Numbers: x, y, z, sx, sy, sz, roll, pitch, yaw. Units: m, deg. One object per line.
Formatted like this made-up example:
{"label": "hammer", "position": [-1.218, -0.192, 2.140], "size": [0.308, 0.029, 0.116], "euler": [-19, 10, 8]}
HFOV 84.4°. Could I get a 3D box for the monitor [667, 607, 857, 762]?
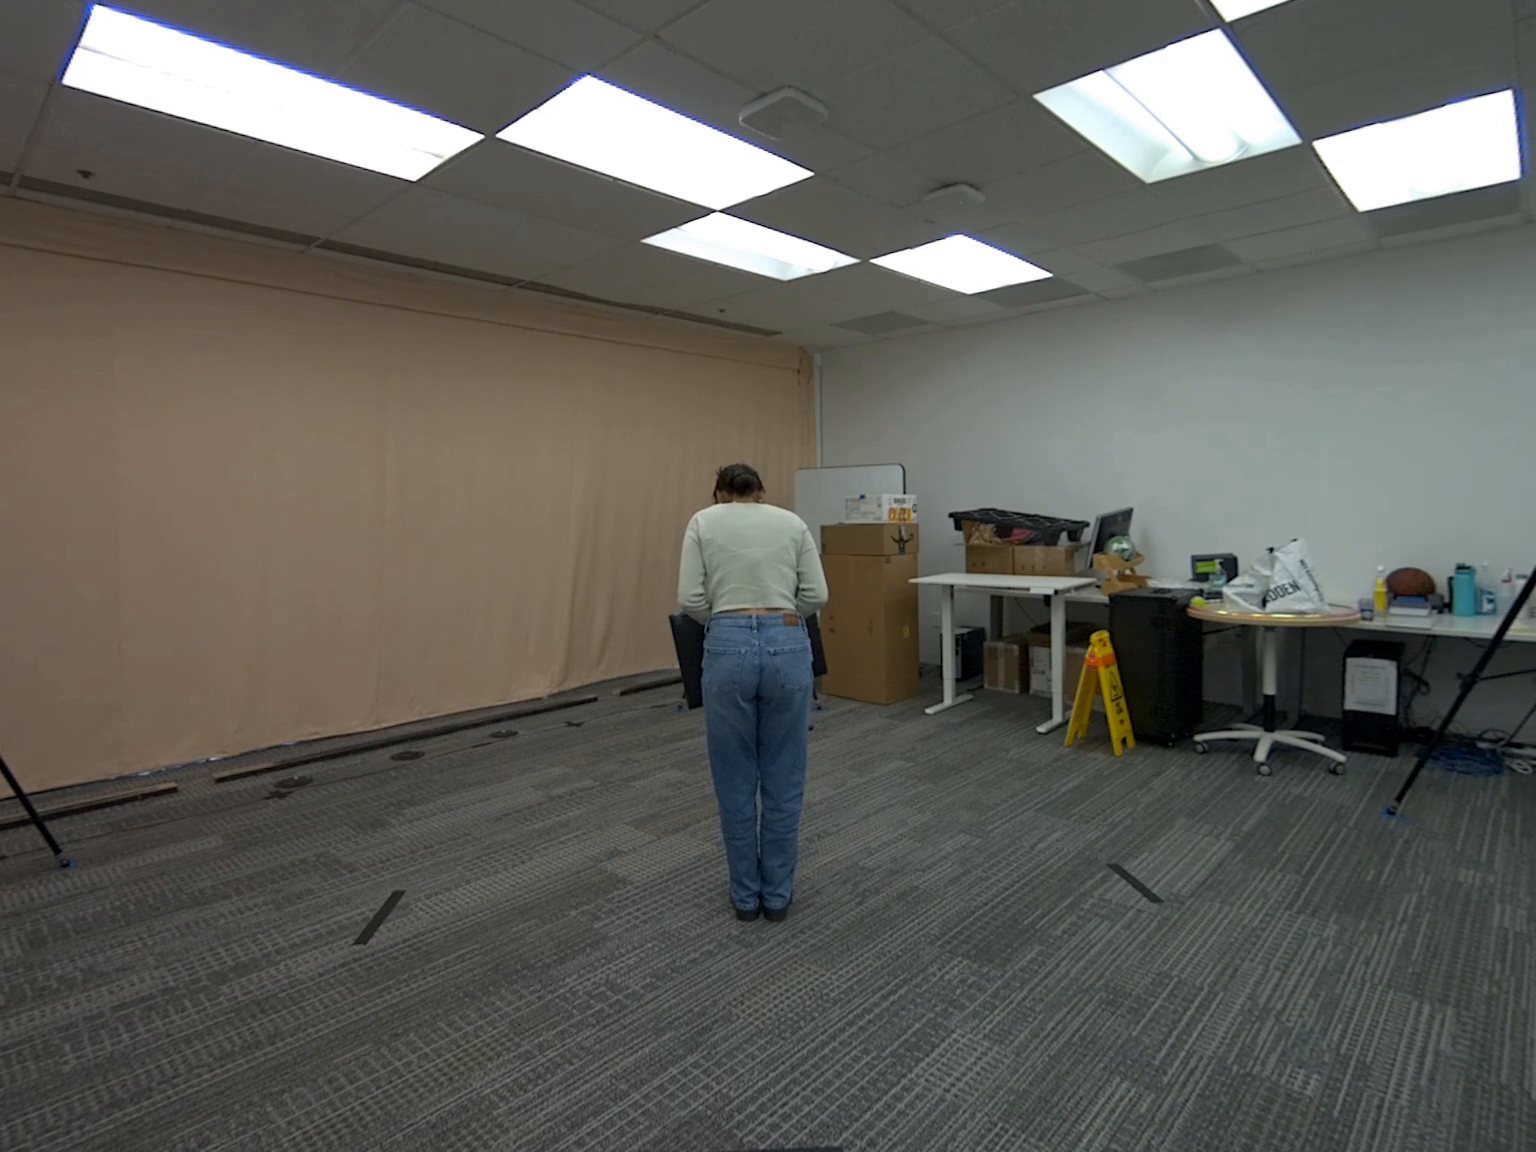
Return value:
{"label": "monitor", "position": [-0.032, 0.330, 3.010], "size": [0.524, 0.522, 0.174], "euler": [-13, -12, -12]}
